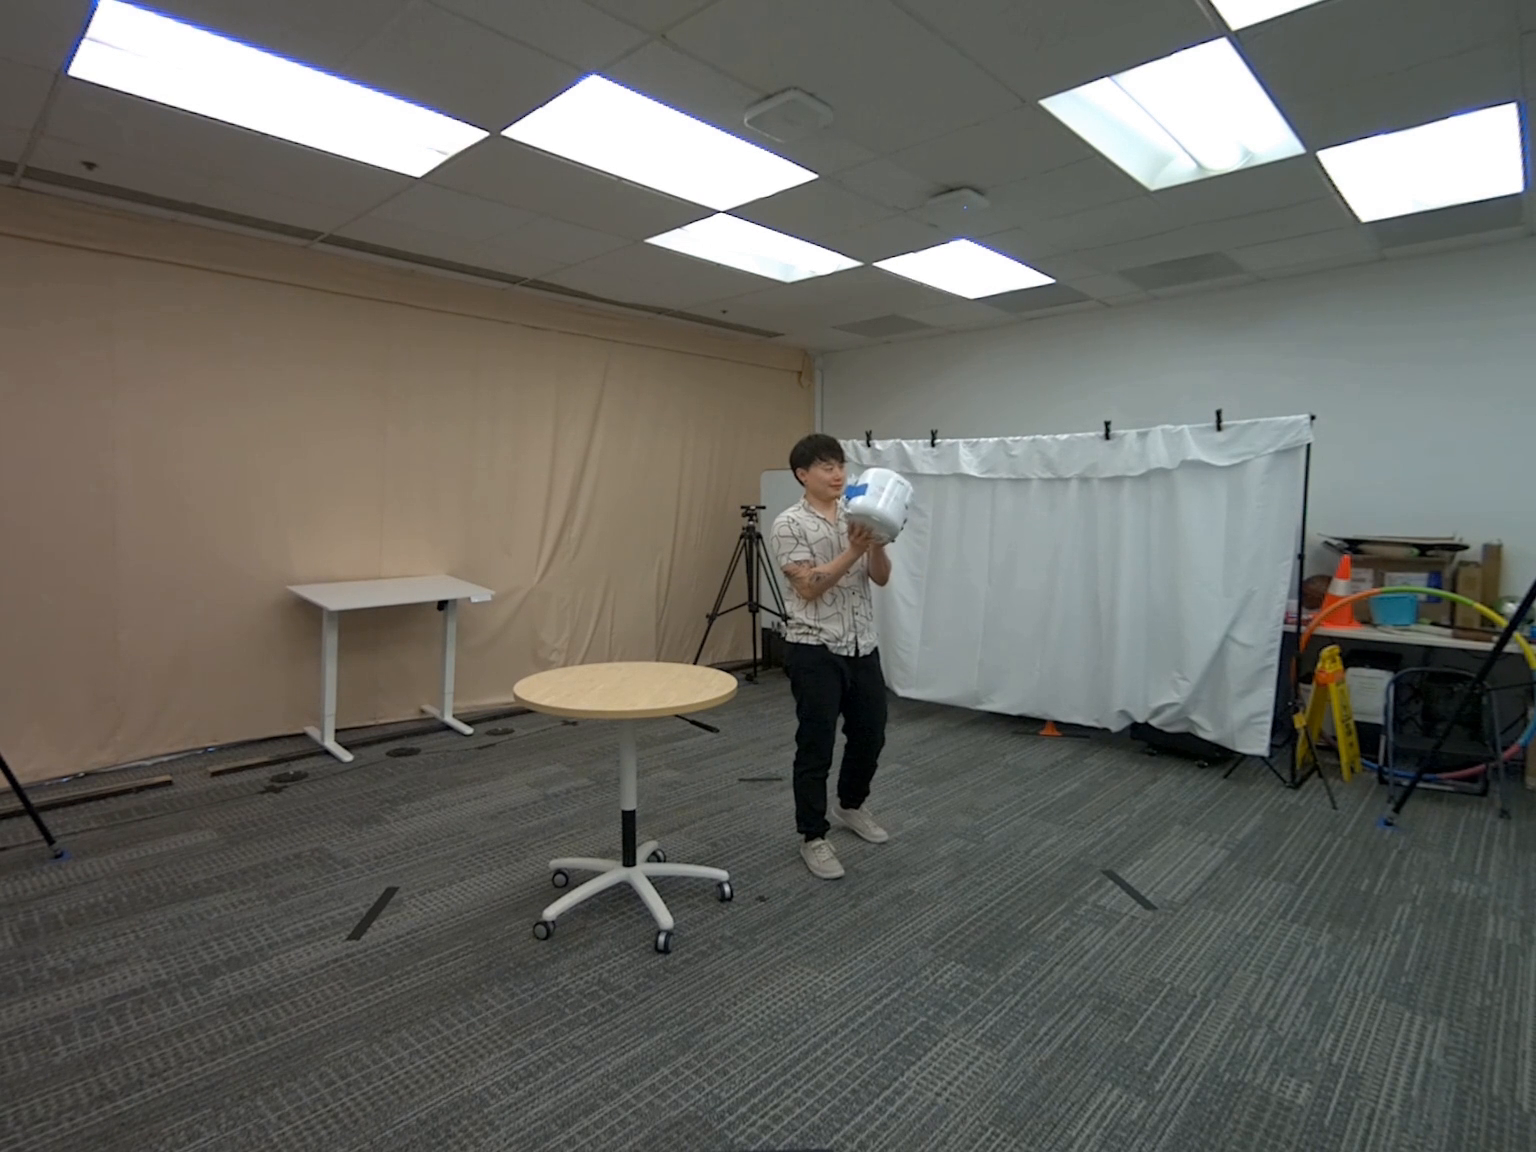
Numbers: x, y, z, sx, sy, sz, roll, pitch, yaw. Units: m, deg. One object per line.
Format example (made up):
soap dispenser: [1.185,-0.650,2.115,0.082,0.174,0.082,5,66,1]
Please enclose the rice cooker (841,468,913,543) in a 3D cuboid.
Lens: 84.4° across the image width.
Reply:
rice cooker: [0.399,-0.258,2.974,0.228,0.233,0.210,9,-30,34]
